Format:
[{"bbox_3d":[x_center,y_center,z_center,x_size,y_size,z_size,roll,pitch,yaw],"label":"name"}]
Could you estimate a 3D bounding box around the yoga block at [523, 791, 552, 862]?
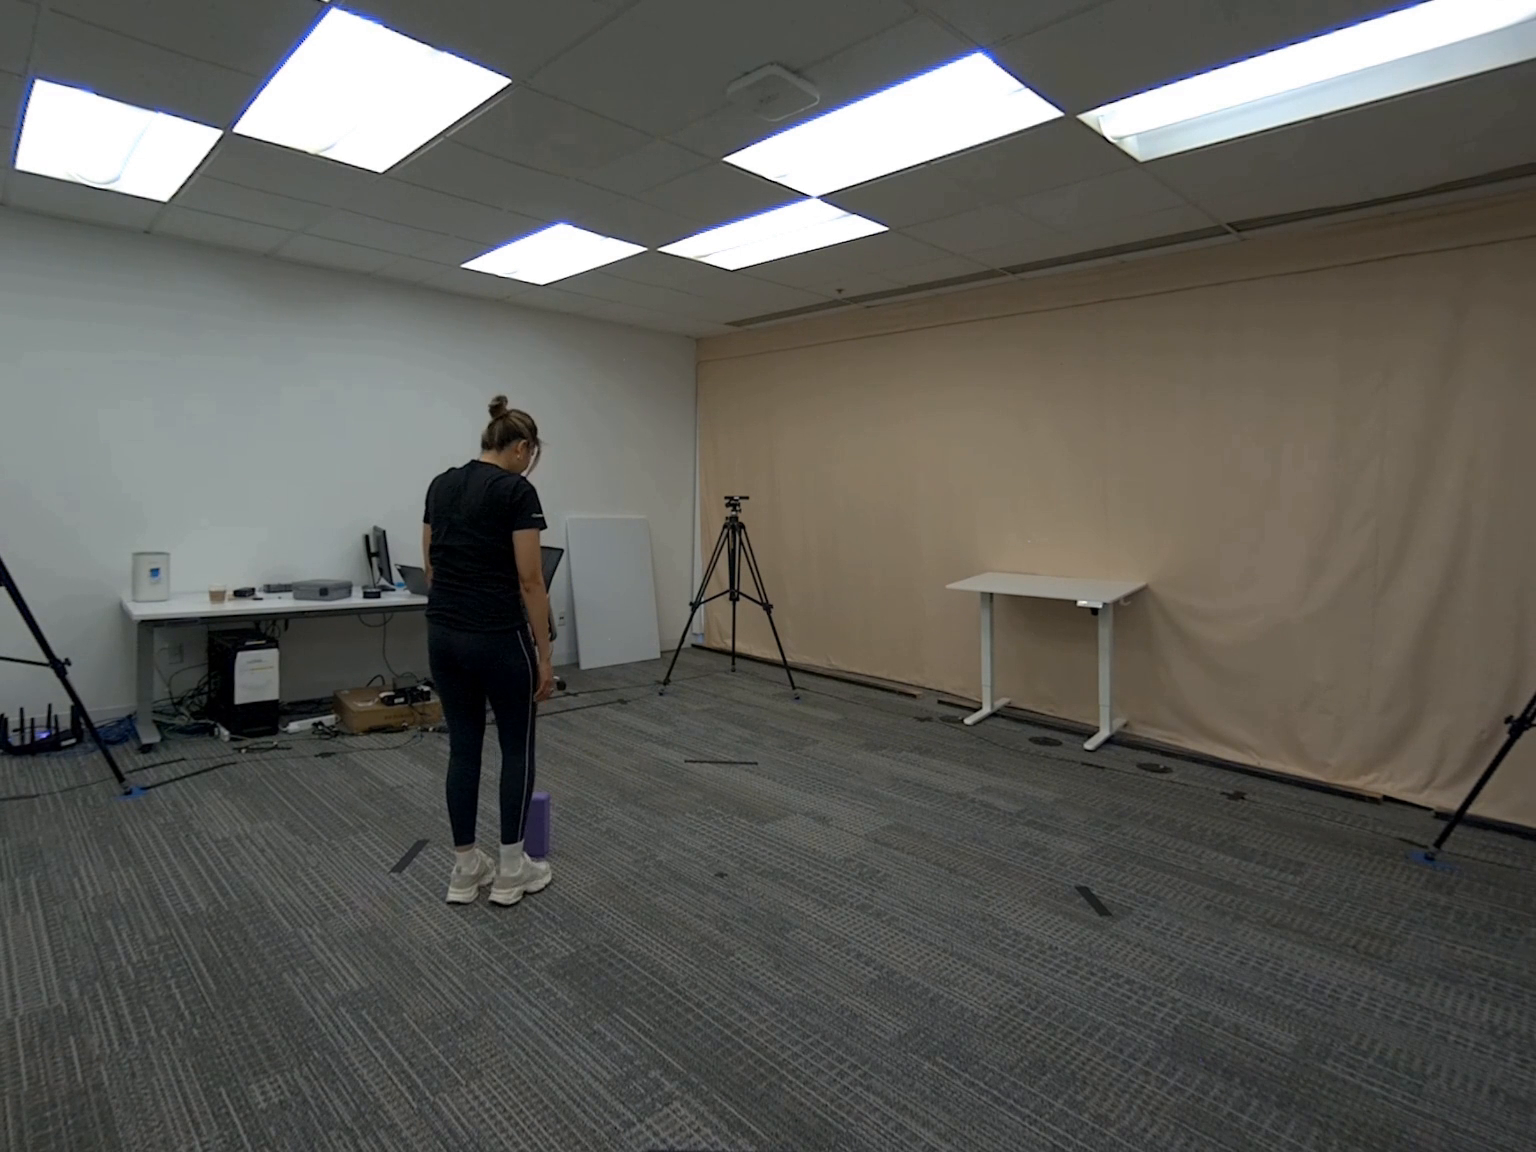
[{"bbox_3d":[-0.930,0.958,3.250,0.149,0.229,0.076,2,3,5],"label":"yoga block"}]
